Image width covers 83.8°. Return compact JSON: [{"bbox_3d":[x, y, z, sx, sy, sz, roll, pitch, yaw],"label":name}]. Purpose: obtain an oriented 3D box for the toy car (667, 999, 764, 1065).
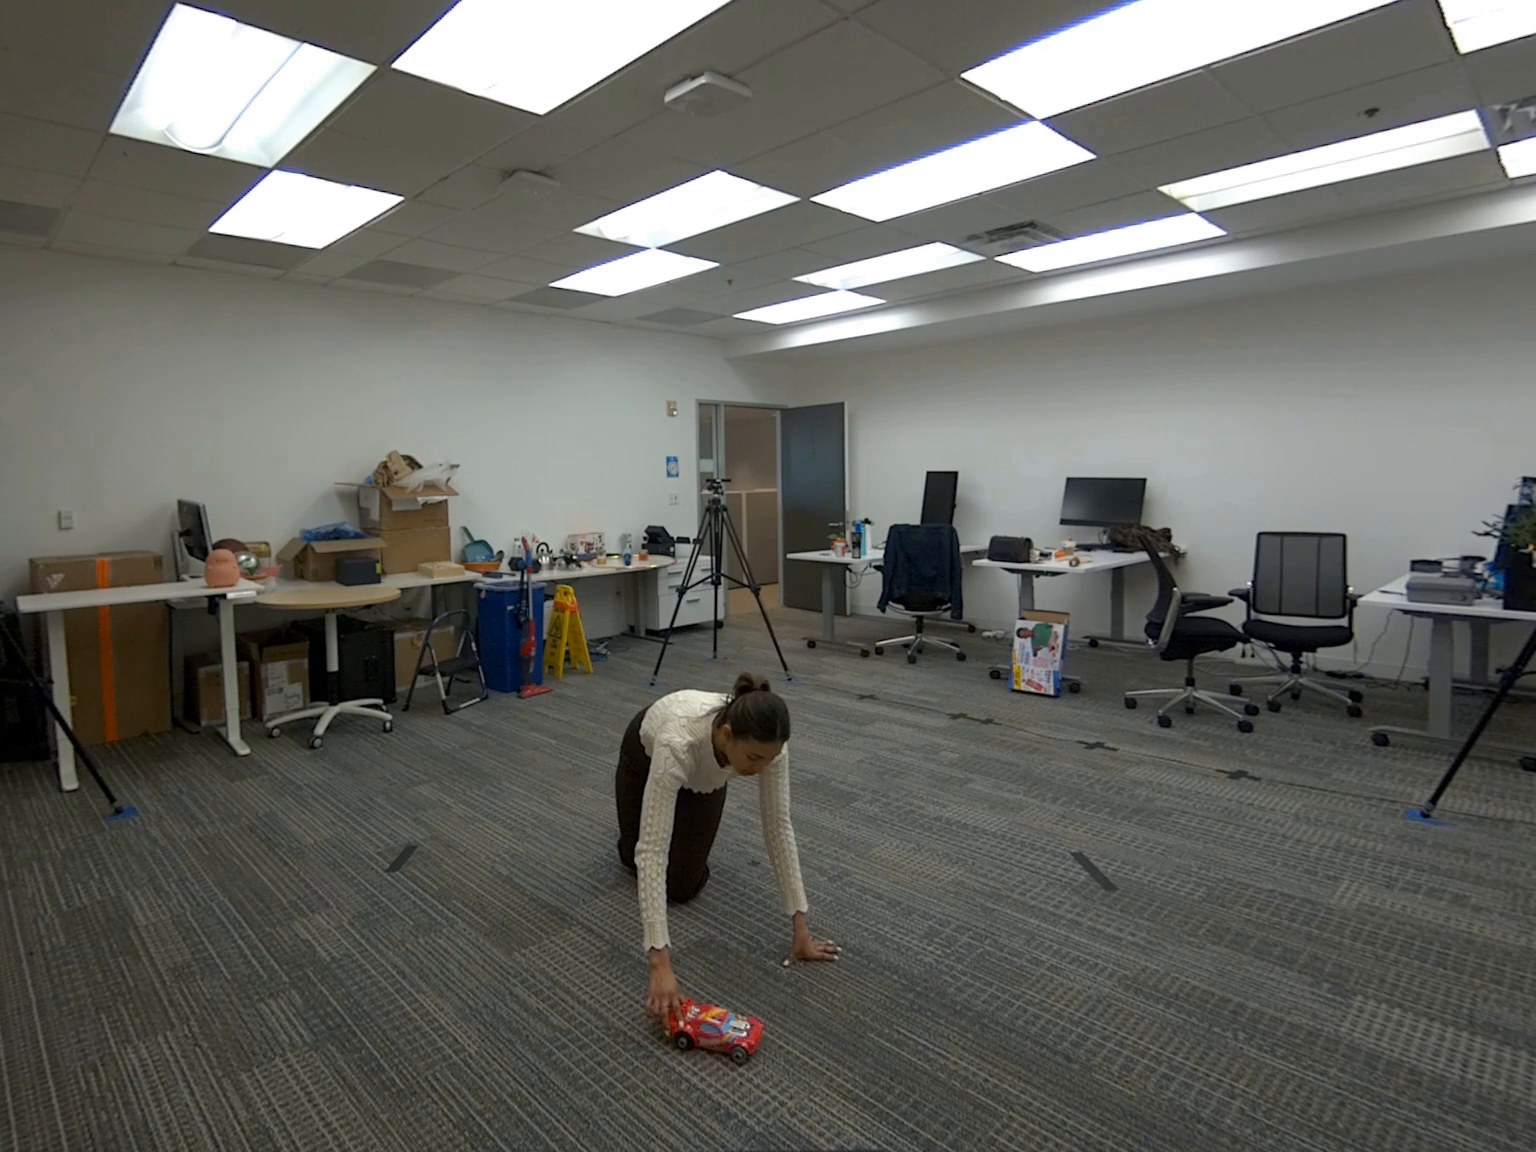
[{"bbox_3d":[-0.134,1.134,2.127,0.260,0.083,0.128,11,9,18],"label":"toy car"}]
